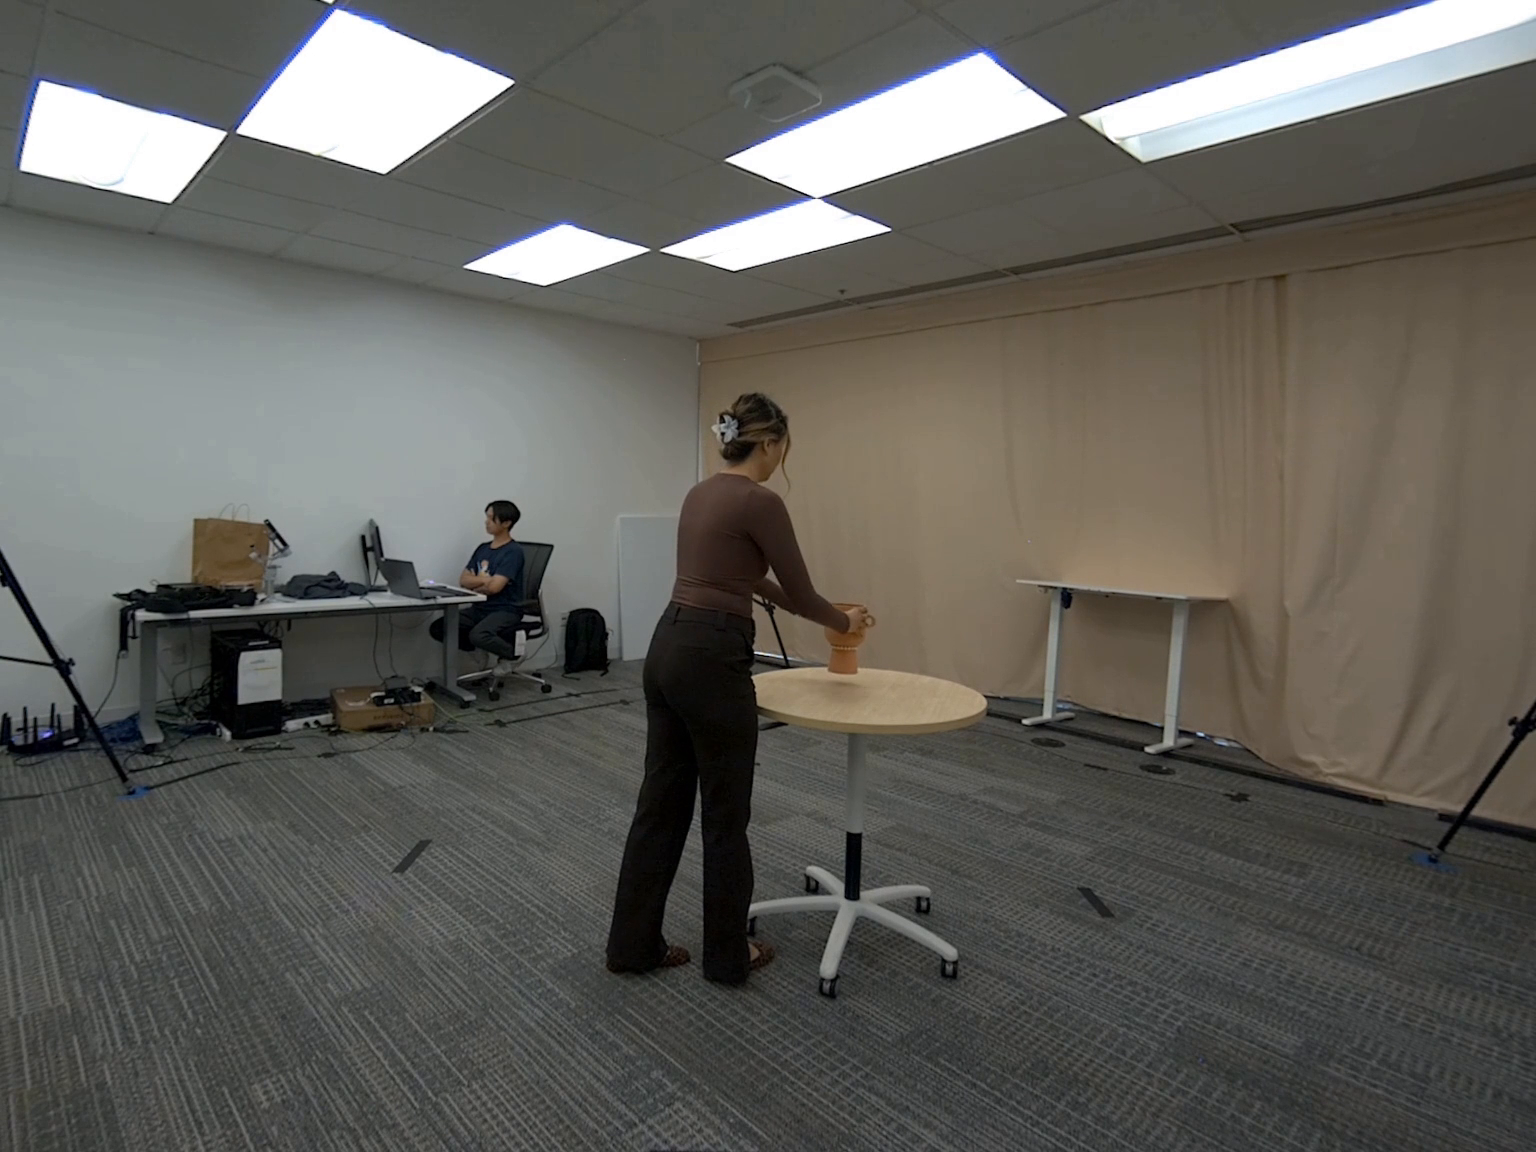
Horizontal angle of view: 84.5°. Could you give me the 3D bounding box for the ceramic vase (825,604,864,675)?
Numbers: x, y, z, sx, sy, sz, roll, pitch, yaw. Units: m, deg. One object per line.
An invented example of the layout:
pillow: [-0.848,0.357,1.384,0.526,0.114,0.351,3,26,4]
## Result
ceramic vase: [0.246,0.206,2.725,0.162,0.220,0.131,3,0,32]
